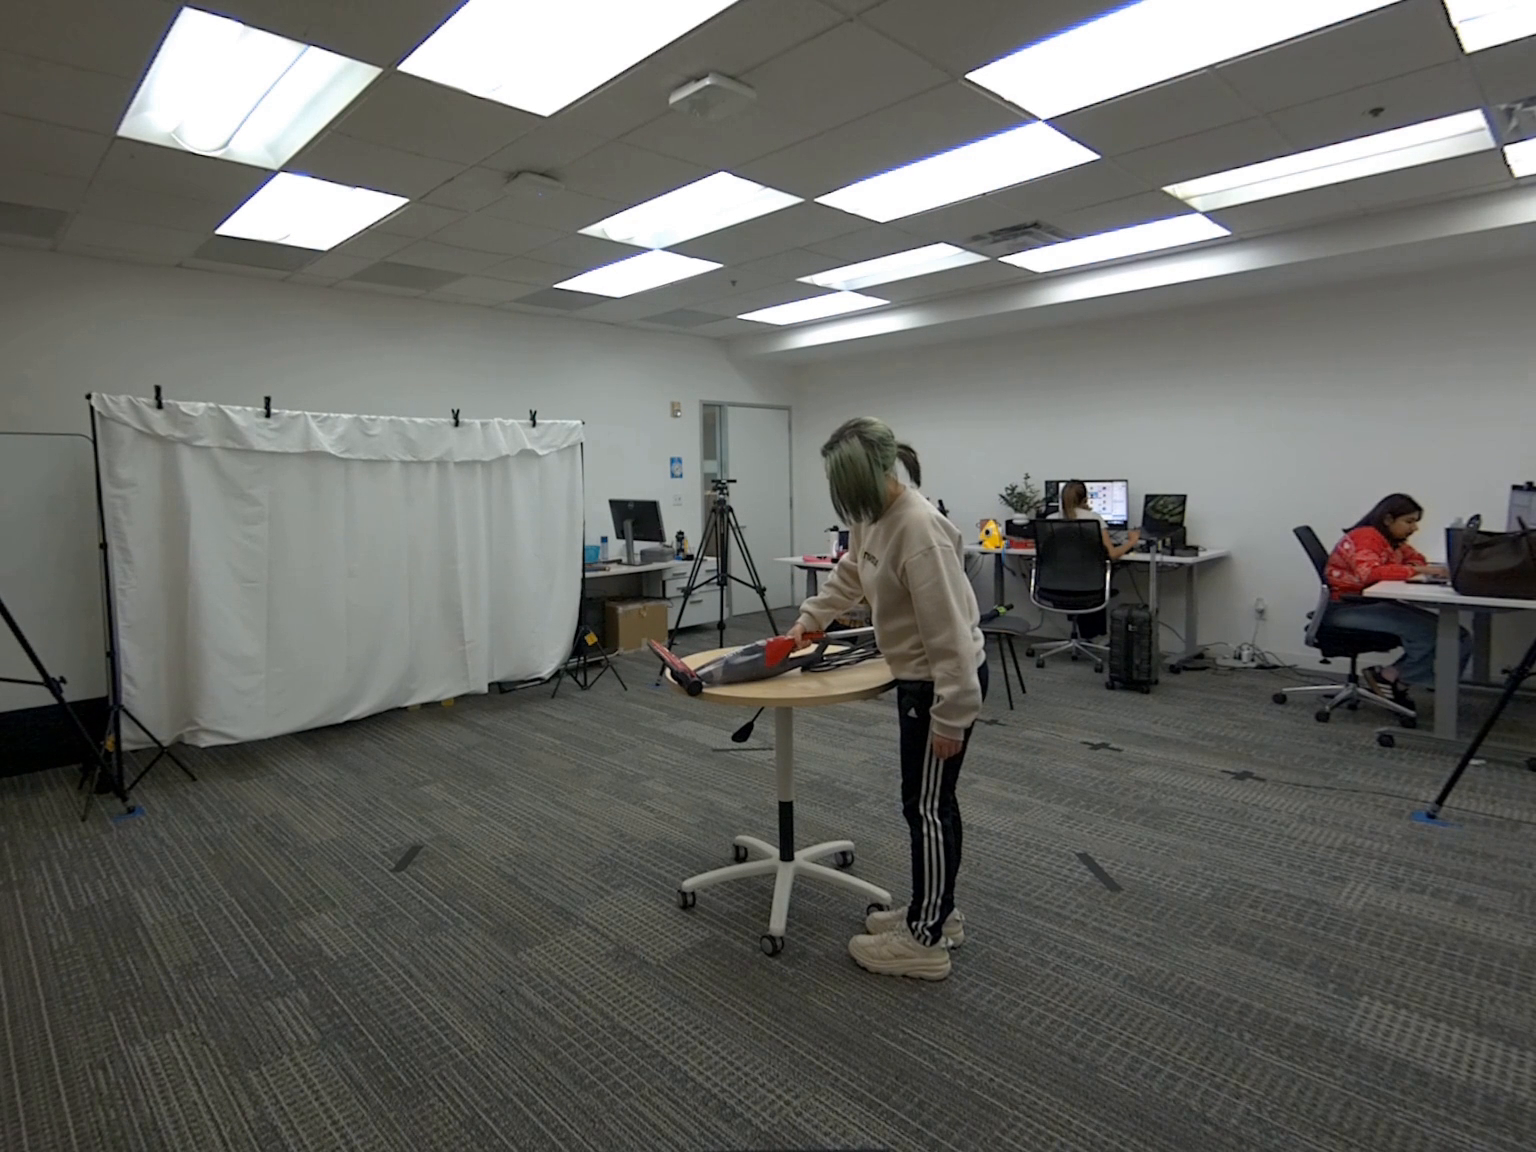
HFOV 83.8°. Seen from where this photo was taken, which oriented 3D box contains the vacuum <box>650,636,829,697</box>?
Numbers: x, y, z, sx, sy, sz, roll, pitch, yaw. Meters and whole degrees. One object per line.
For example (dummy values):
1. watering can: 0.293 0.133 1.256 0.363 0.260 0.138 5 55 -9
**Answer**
1. vacuum: 0.189 0.253 2.731 1.029 0.142 0.260 -5 14 -23
